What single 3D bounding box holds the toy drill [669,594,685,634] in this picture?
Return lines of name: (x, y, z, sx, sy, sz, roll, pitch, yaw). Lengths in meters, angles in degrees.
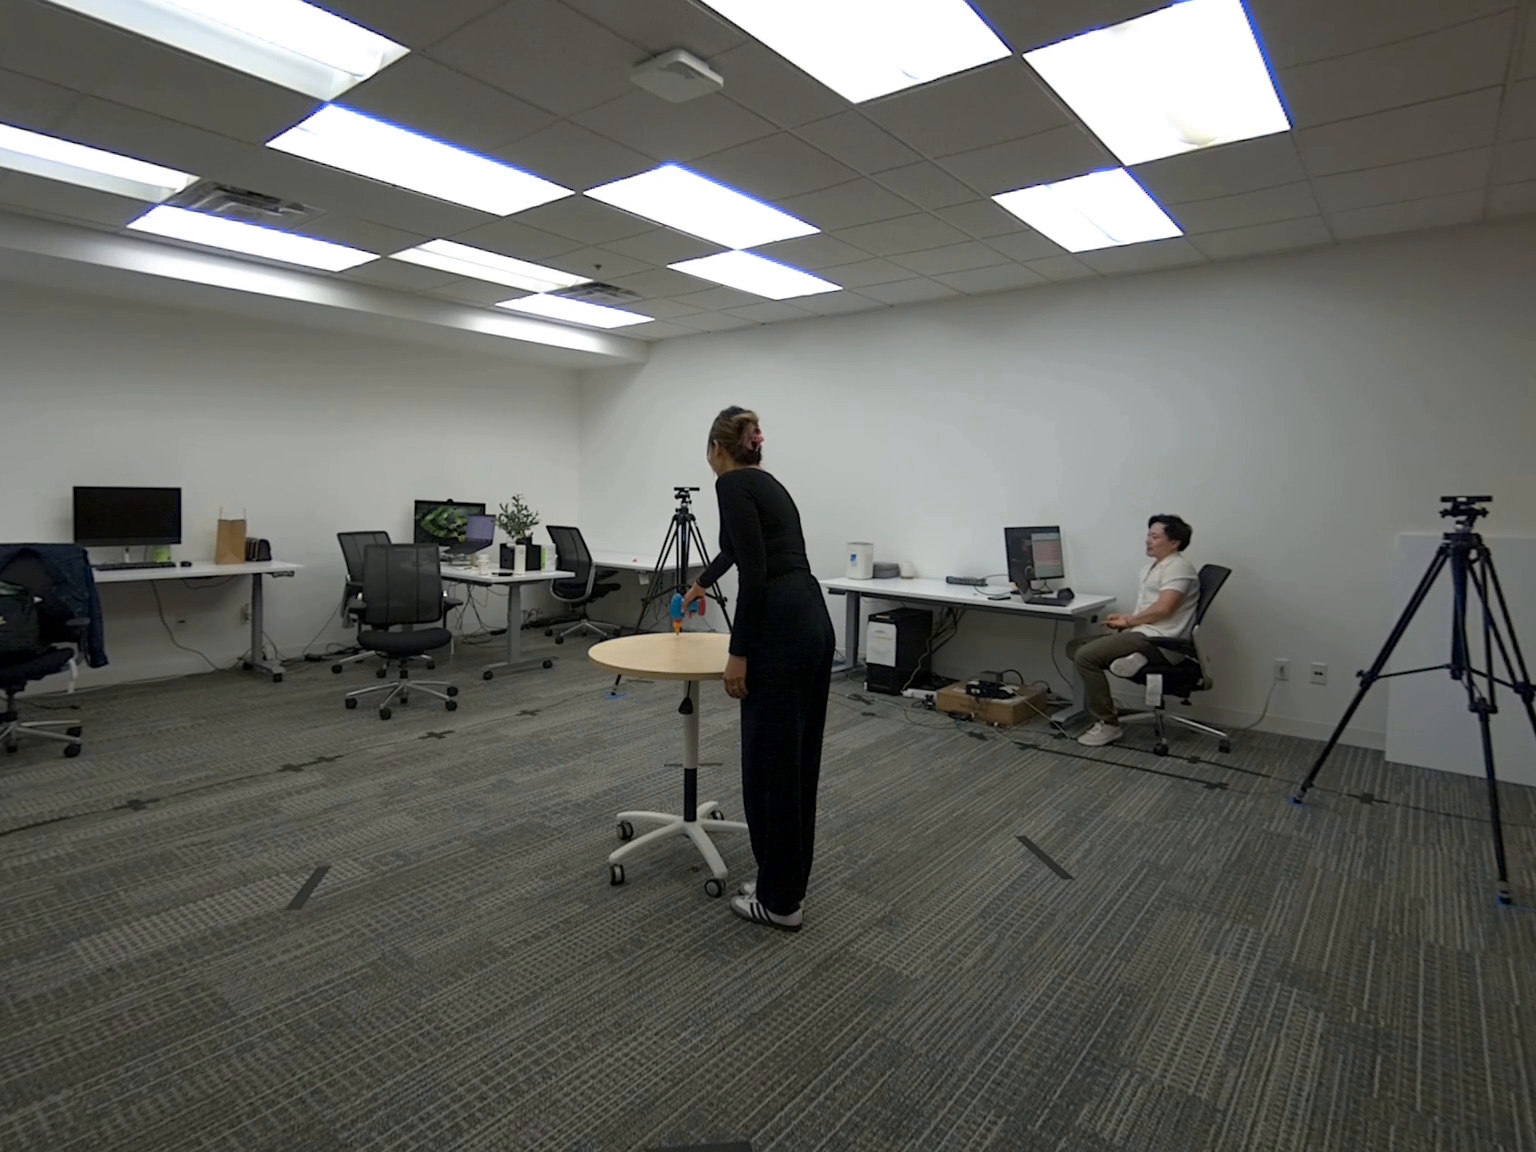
toy drill: (-0.338, 0.156, 3.436, 0.149, 0.170, 0.060, 1, -1, 21)
